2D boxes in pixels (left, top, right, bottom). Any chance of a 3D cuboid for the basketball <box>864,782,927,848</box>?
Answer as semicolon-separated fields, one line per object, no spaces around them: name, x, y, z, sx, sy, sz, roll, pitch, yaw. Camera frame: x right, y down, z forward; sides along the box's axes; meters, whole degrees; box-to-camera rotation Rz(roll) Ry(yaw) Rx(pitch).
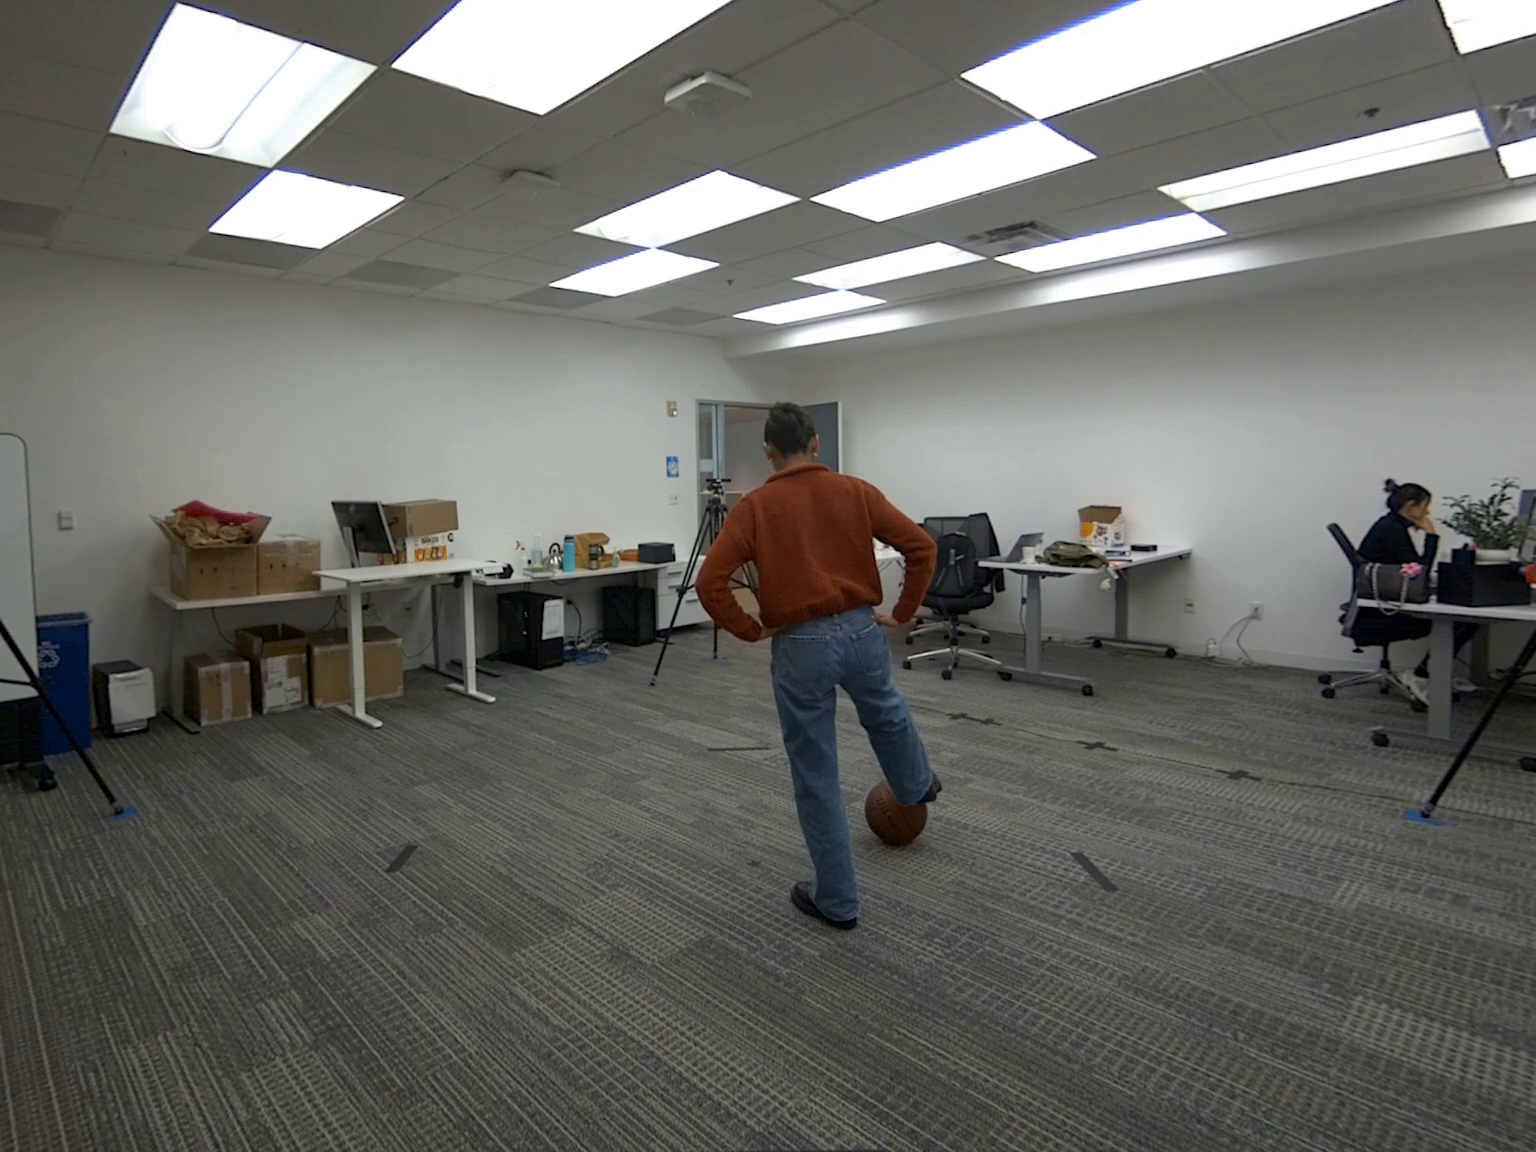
basketball;0.487;0.899;3.274;0.236;0.235;0.237;-1;5;-2
